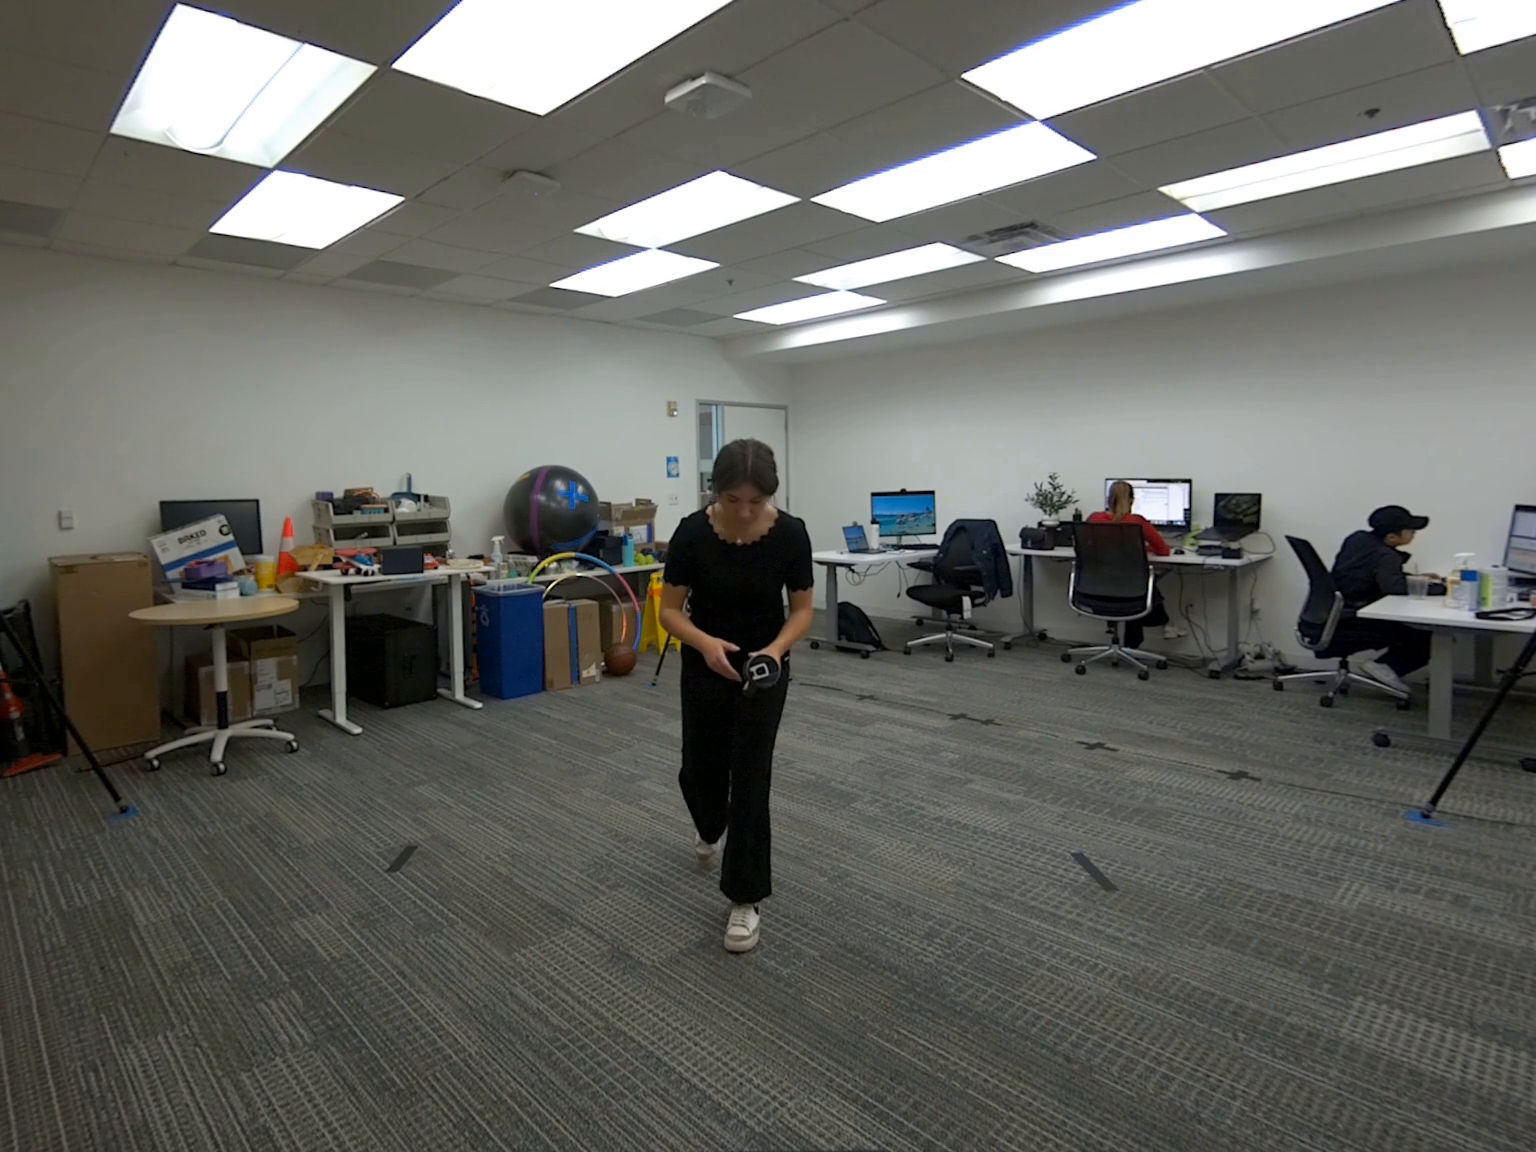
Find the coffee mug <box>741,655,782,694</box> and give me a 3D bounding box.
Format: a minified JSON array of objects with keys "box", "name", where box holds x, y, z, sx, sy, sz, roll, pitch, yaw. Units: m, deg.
[{"box":[-0.055,0.272,2.376,0.121,0.088,0.203,-35,1,-12],"name":"coffee mug"}]
